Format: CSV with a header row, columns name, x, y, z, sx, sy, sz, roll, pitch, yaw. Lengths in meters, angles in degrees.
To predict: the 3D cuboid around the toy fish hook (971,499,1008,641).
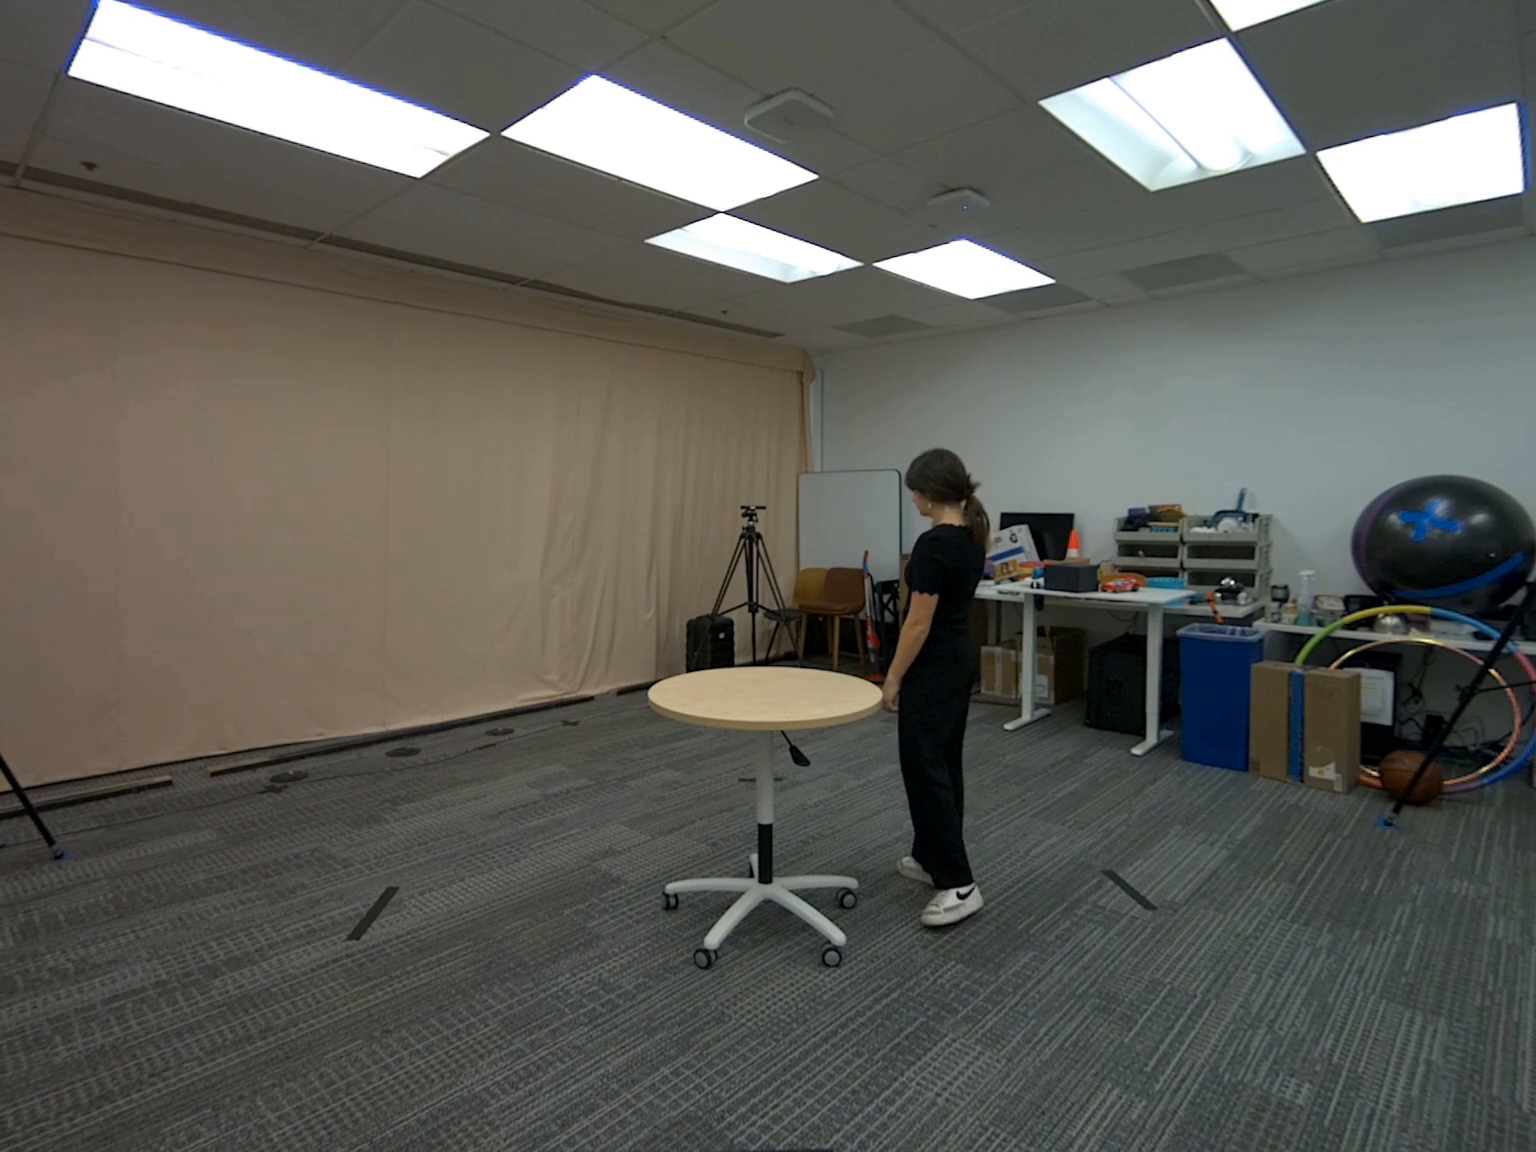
name,x,y,z,sx,sy,sz,roll,pitch,yaw
toy fish hook,0.730,-0.022,3.092,0.231,0.503,0.047,0,12,36
